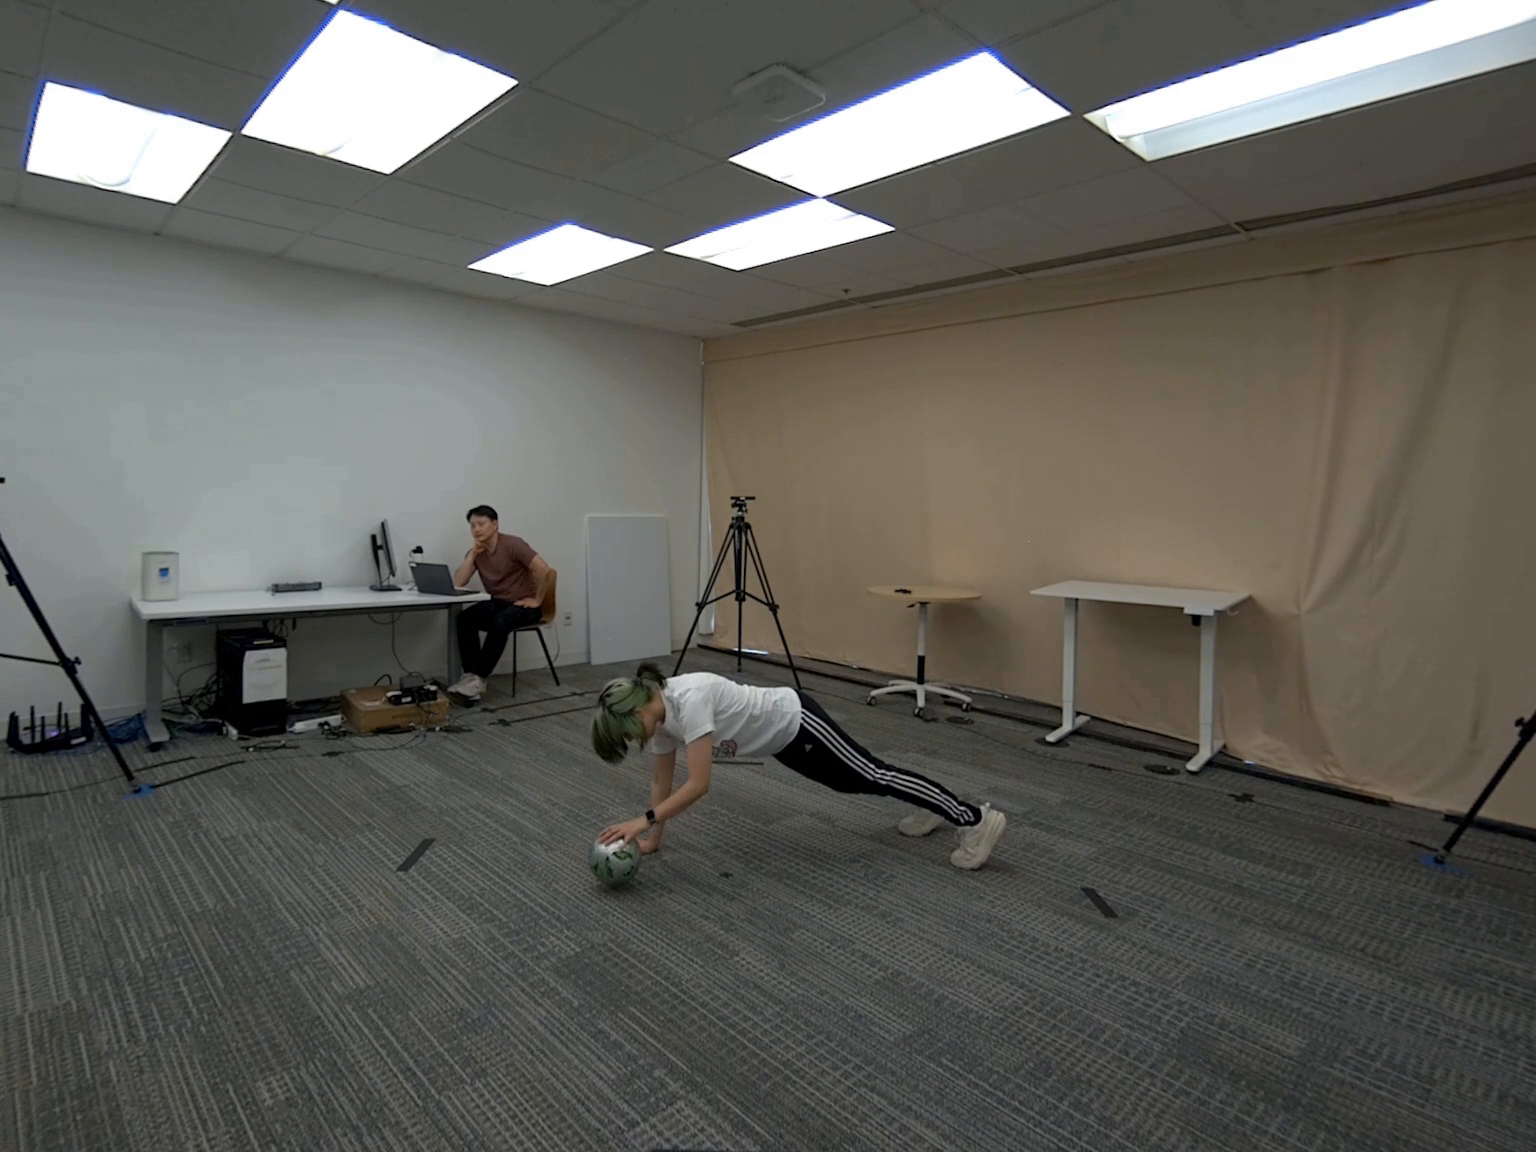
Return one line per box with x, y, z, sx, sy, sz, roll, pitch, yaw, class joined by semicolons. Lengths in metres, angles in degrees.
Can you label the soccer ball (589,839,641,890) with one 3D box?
-0.540;0.999;2.966;0.187;0.187;0.188;1;4;-1;soccer ball
